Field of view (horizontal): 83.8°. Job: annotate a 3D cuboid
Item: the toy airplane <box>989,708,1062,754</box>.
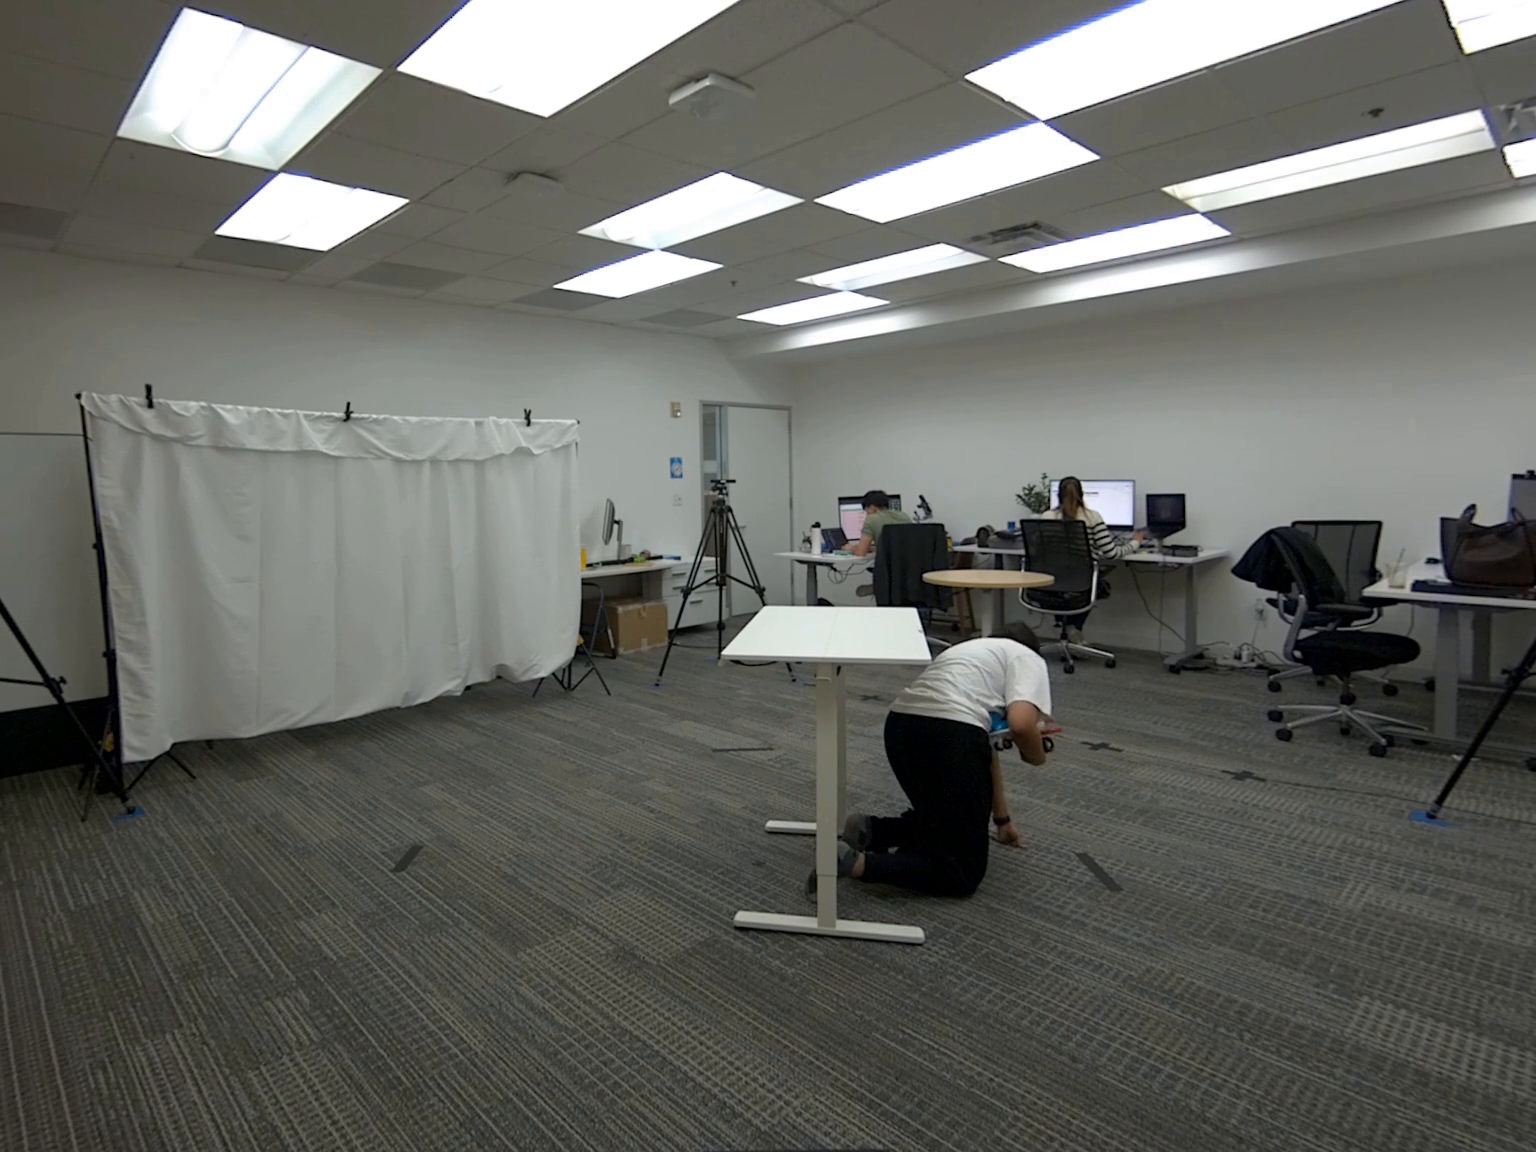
[{"bbox_3d":[0.875,0.531,2.976,0.255,0.160,0.249,-16,-29,23],"label":"toy airplane"}]
